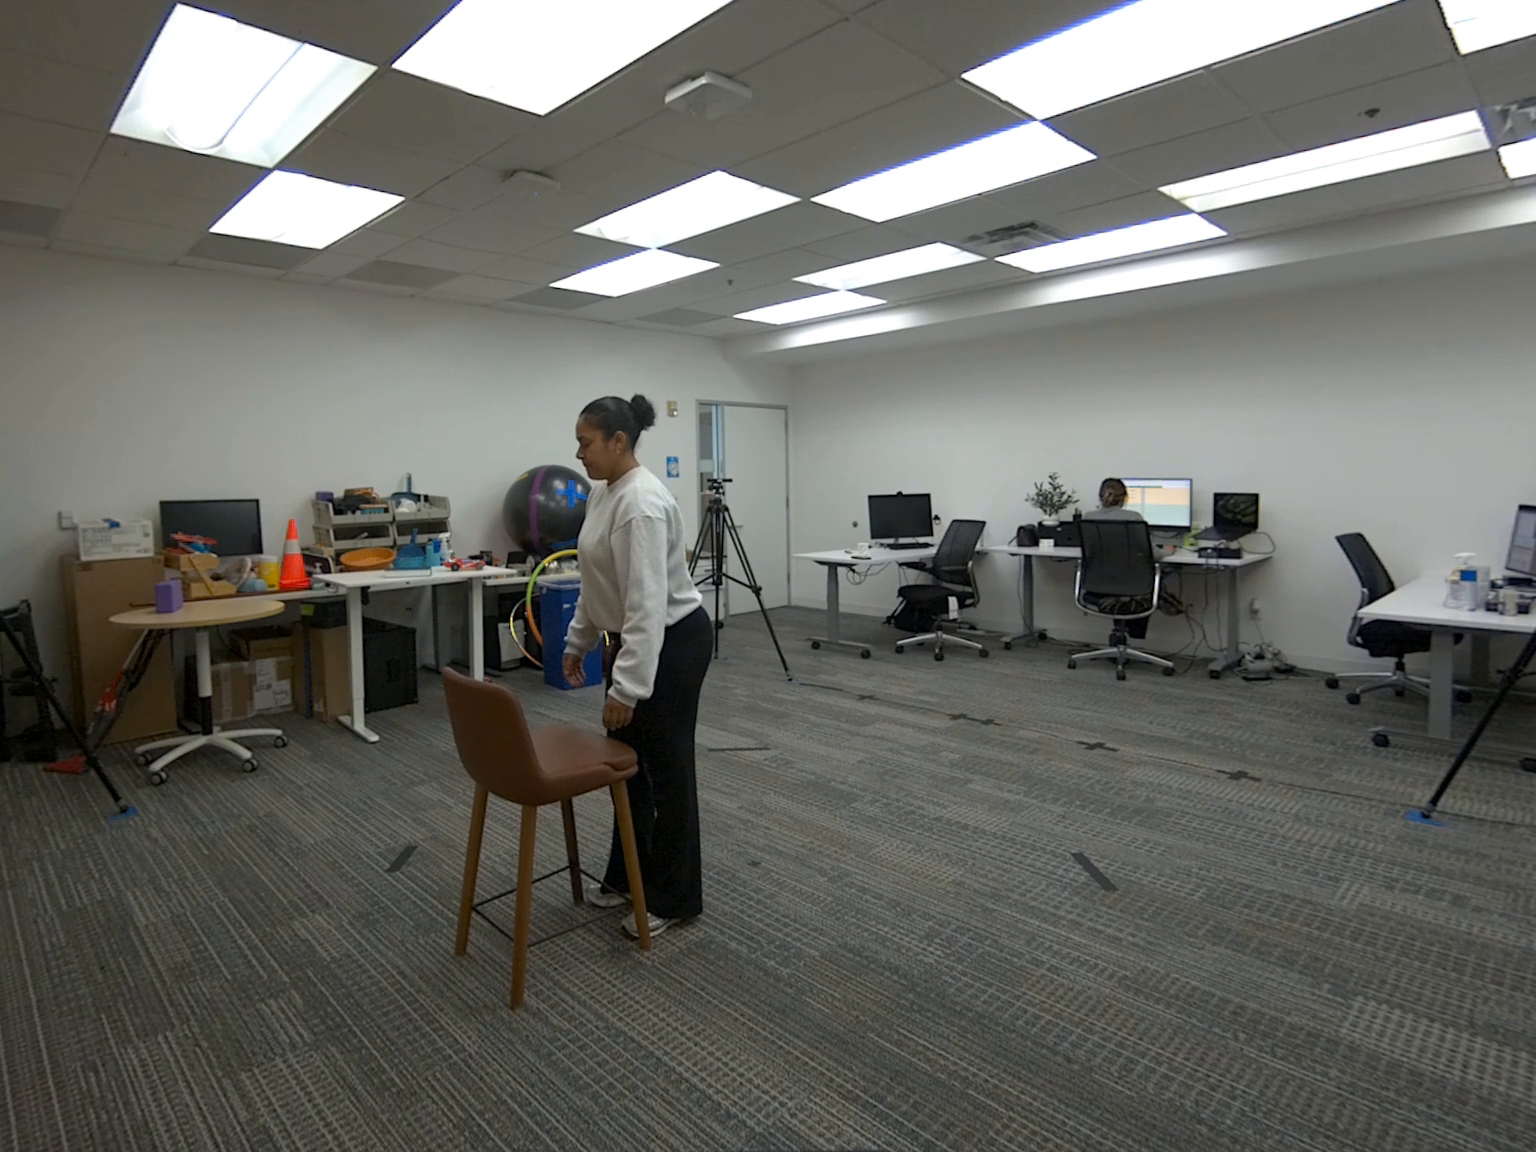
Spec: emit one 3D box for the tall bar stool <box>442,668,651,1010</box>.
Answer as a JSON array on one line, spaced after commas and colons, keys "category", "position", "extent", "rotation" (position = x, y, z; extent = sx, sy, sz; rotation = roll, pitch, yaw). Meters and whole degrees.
[{"category": "tall bar stool", "position": [-0.657, 0.684, 2.525], "extent": [0.456, 0.885, 0.471], "rotation": [-7, 8, -43]}]
